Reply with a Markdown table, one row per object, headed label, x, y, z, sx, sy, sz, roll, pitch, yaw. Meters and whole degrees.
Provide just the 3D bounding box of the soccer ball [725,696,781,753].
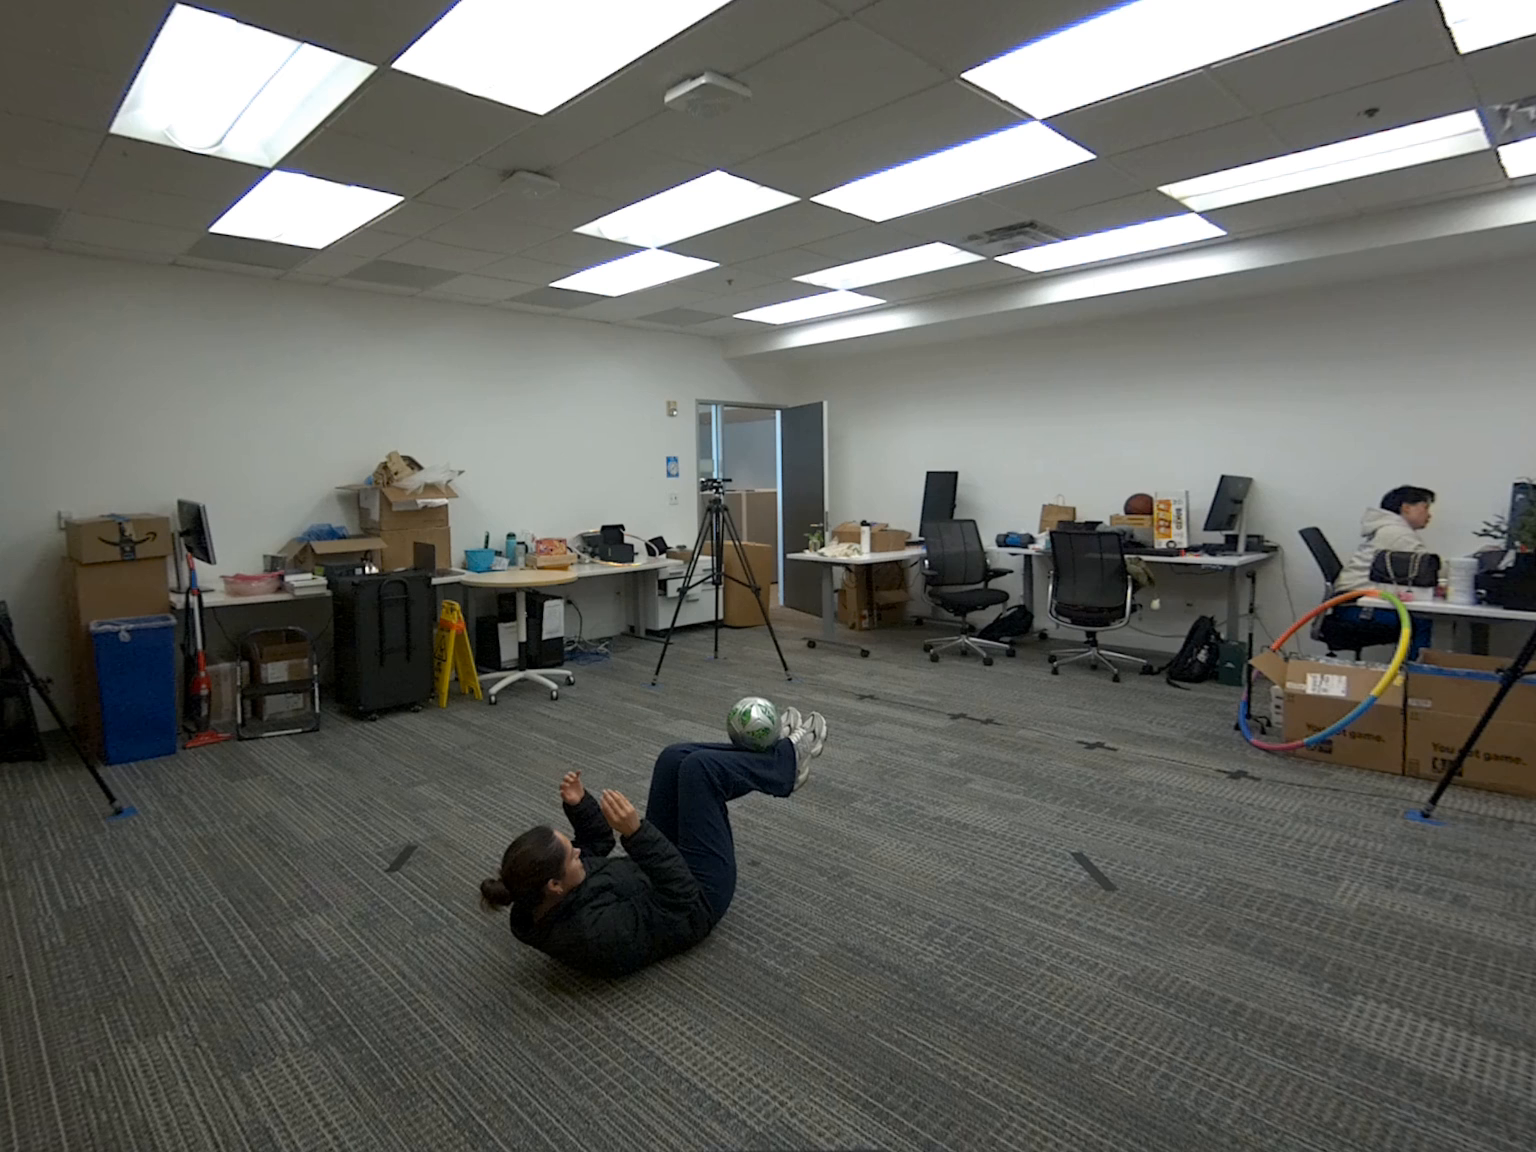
| label | x | y | z | sx | sy | sz | roll | pitch | yaw |
| --- | --- | --- | --- | --- | --- | --- | --- | --- | --- |
| soccer ball | -0.038 | 0.495 | 2.855 | 0.187 | 0.187 | 0.188 | 0 | 1 | -2 |
